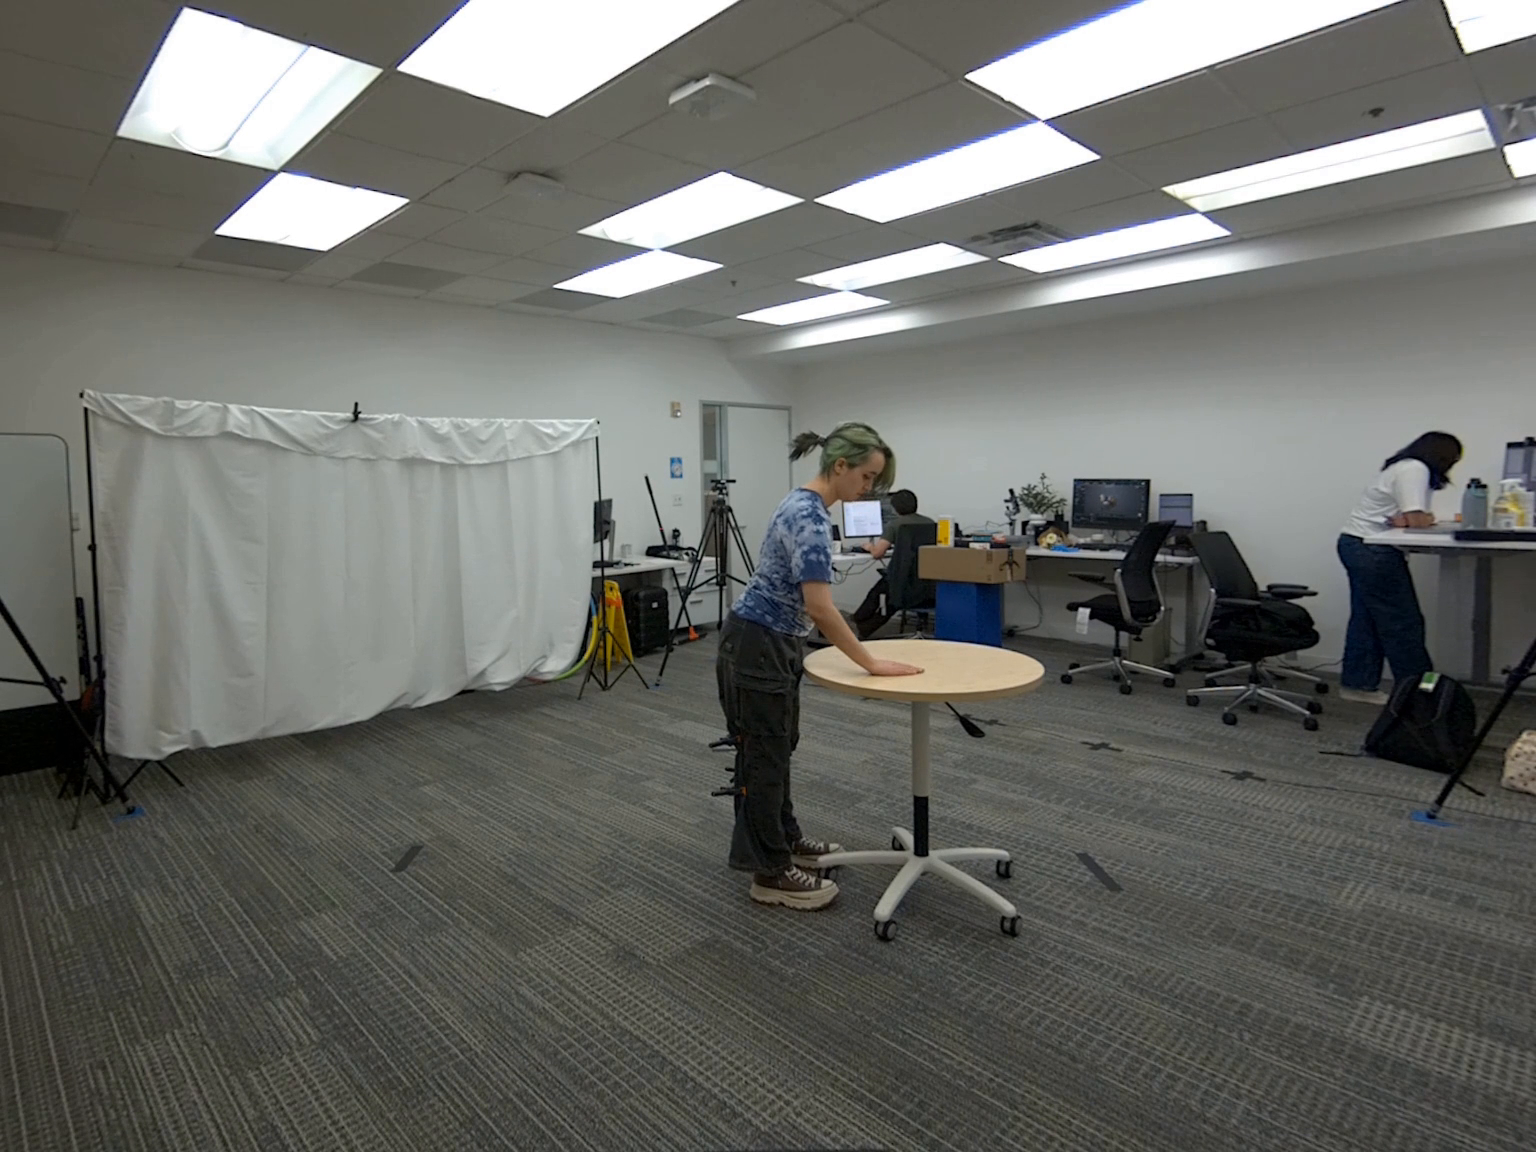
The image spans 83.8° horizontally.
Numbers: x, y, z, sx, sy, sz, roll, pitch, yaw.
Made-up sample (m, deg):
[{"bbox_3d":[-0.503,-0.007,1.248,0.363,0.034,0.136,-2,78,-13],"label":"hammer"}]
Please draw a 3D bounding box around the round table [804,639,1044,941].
[{"bbox_3d":[0.496,0.674,2.818,0.784,0.783,0.789,-1,5,-2],"label":"round table"}]
